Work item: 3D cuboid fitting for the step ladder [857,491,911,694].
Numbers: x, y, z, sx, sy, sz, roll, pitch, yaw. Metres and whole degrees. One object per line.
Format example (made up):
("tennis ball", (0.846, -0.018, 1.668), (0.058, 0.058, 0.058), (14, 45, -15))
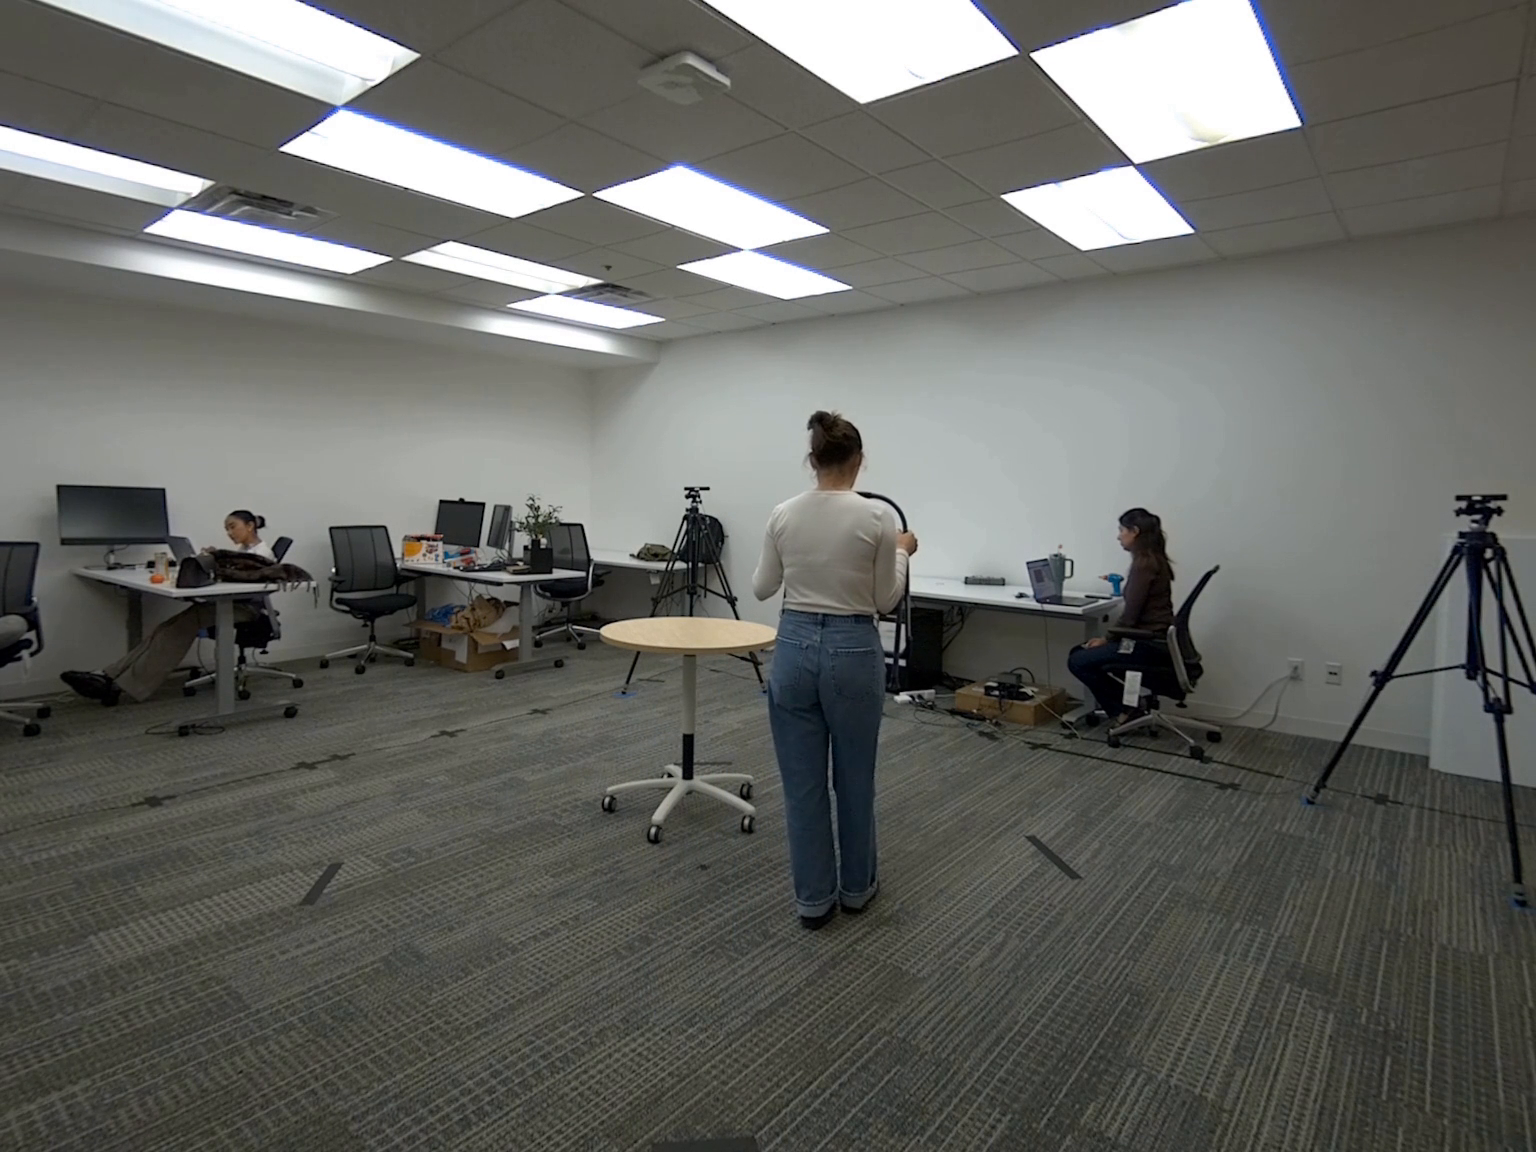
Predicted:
("step ladder", (0.261, 0.011, 2.932), (0.440, 0.601, 0.345), (4, 9, 18))
